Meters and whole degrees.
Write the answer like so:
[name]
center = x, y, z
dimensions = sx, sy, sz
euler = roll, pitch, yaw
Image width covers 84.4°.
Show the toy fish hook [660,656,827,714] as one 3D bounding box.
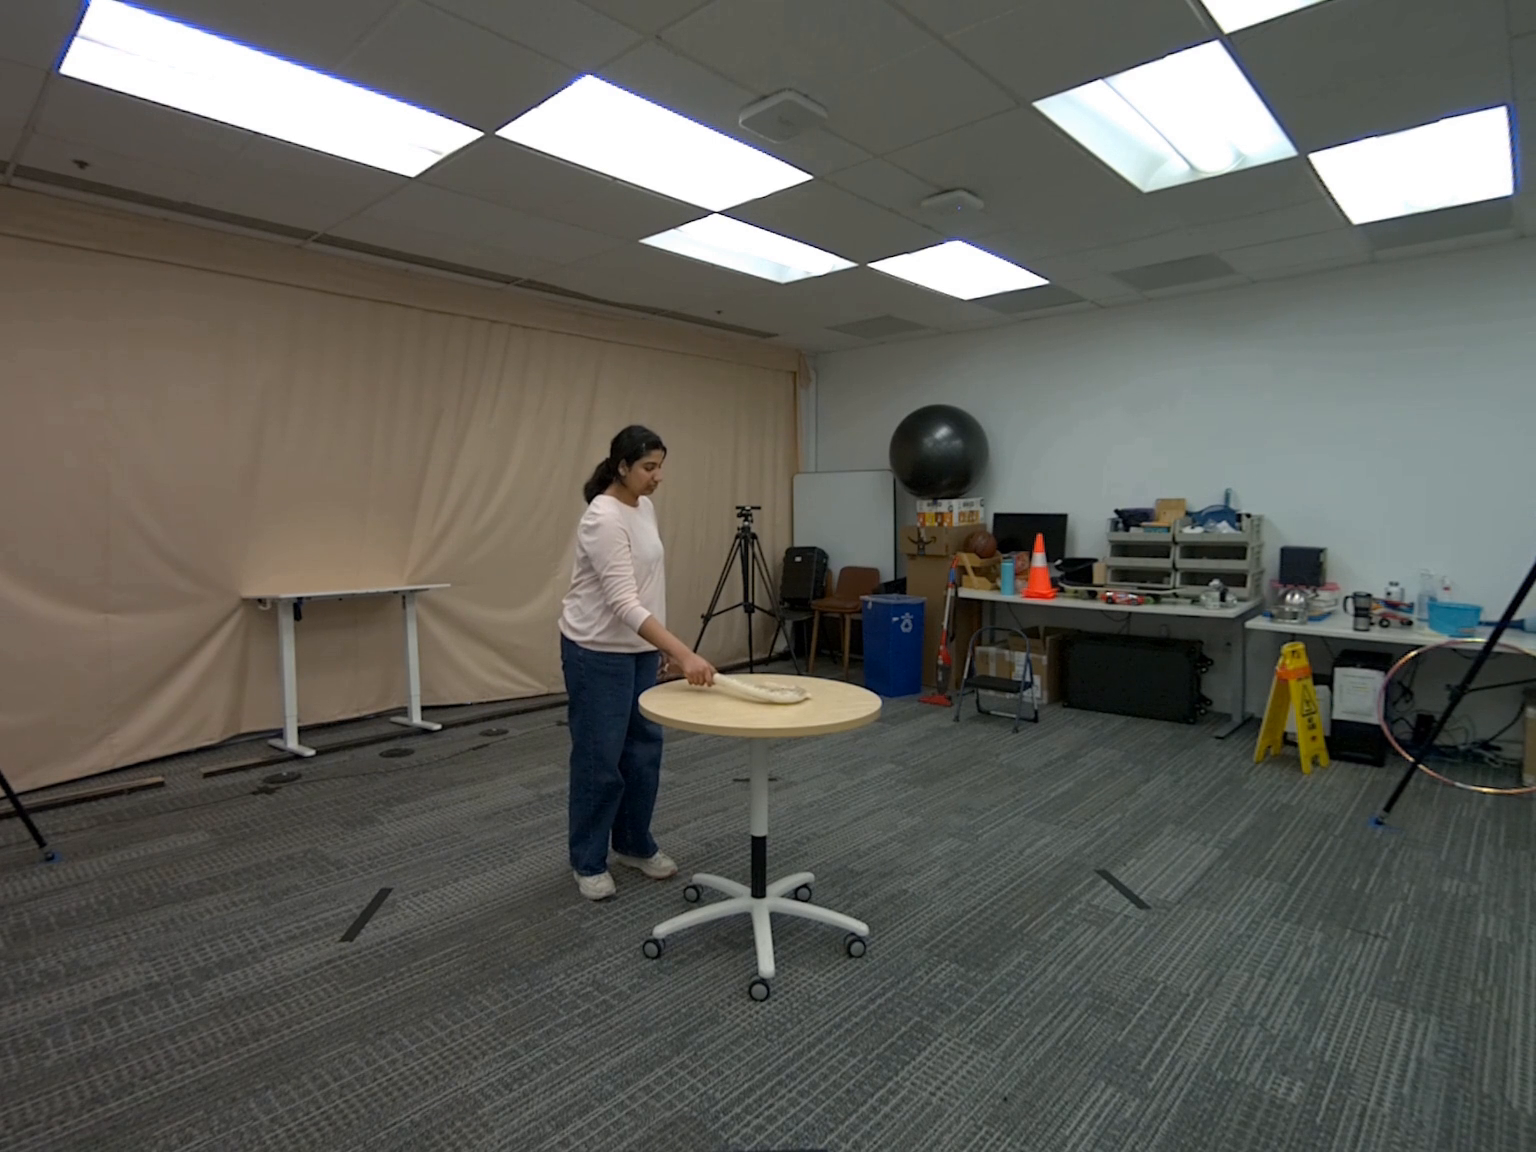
[toy fish hook]
center = -0.089, 0.345, 2.749
dimensions = 0.523, 0.048, 0.218
euler = 11, 5, 35
